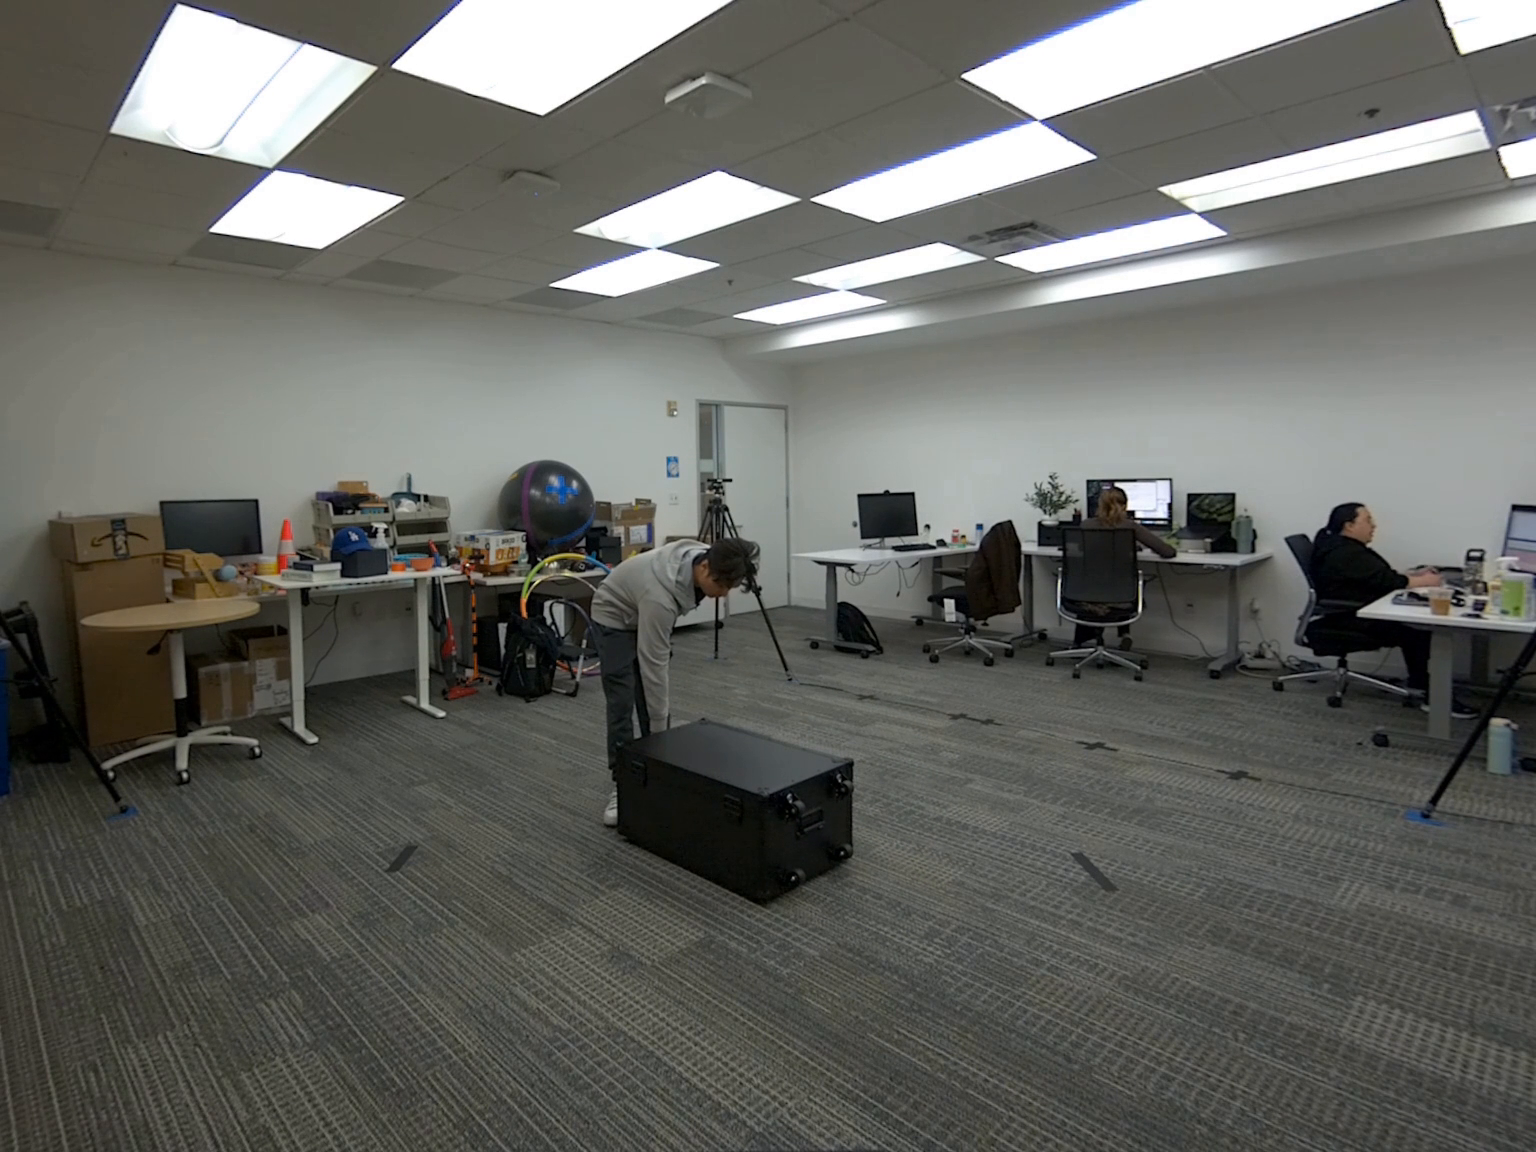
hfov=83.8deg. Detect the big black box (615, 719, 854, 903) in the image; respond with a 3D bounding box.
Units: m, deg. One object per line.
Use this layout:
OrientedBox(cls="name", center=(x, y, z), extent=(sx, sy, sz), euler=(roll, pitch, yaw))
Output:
OrientedBox(cls="big black box", center=(-0.117, 0.847, 3.181), extent=(0.888, 0.395, 0.508), euler=(4, 7, 43))
